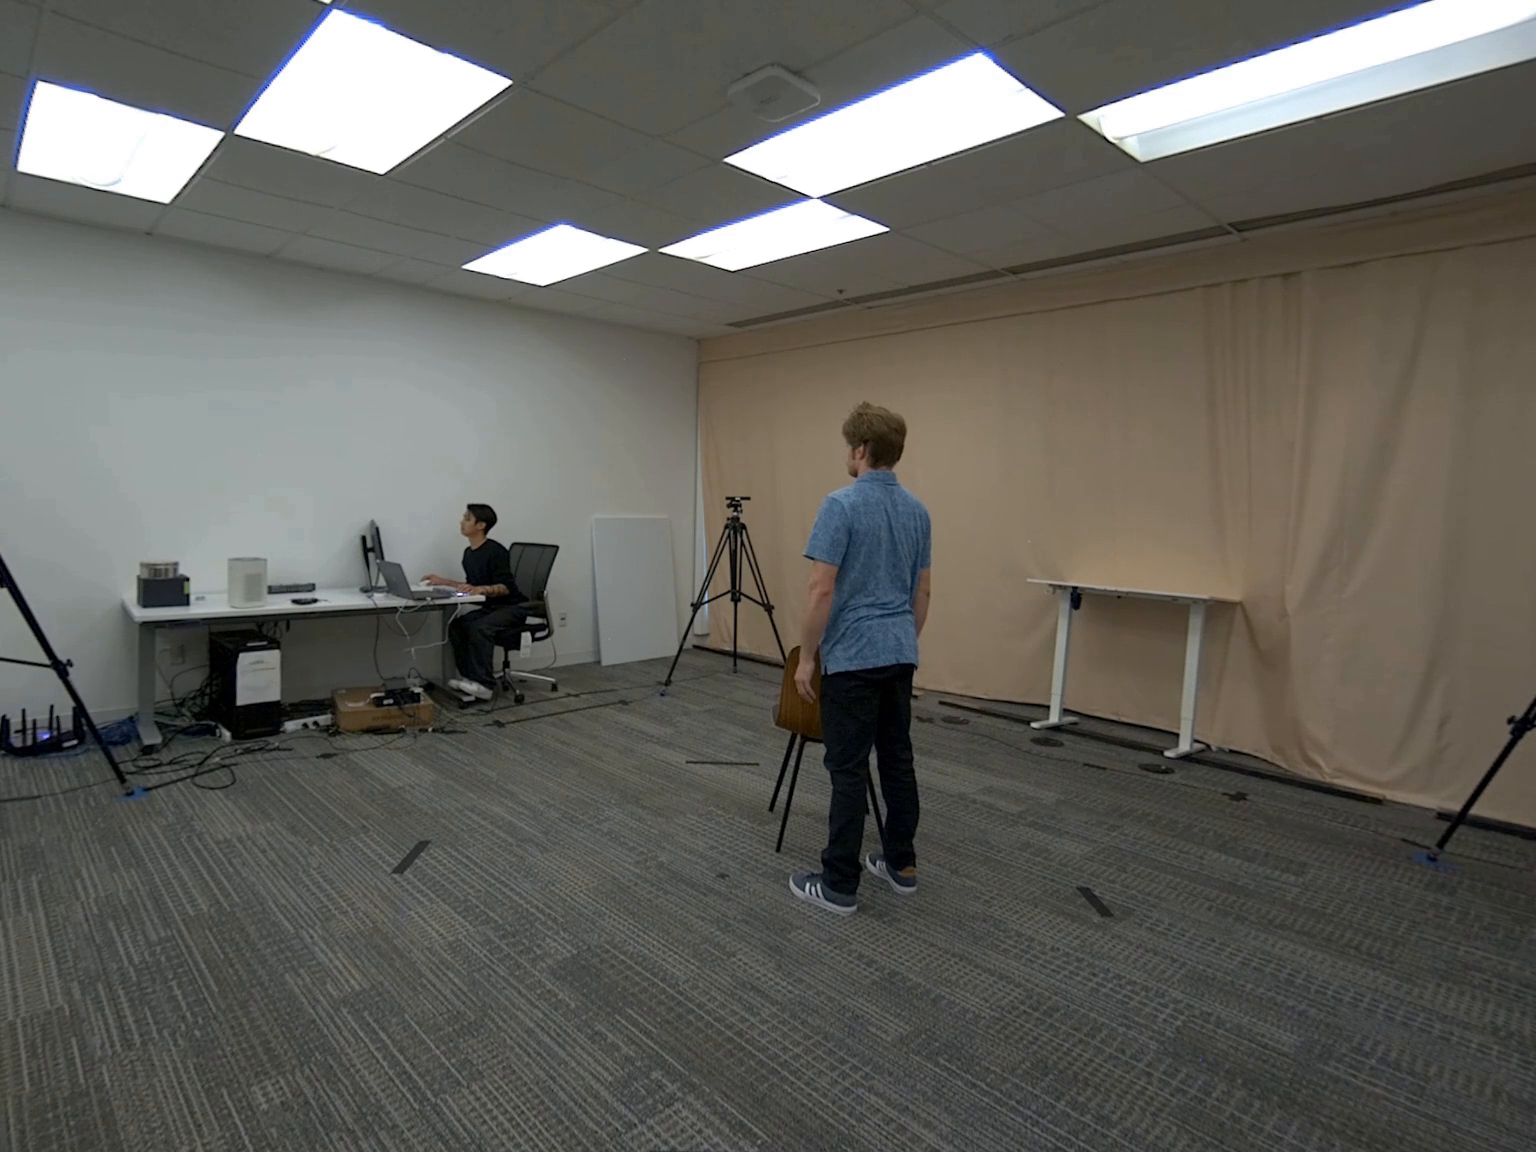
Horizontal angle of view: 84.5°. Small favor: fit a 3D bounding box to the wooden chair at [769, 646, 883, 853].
[{"bbox_3d":[0.245,0.648,3.525,0.477,0.873,0.526,1,7,-2],"label":"wooden chair"}]
